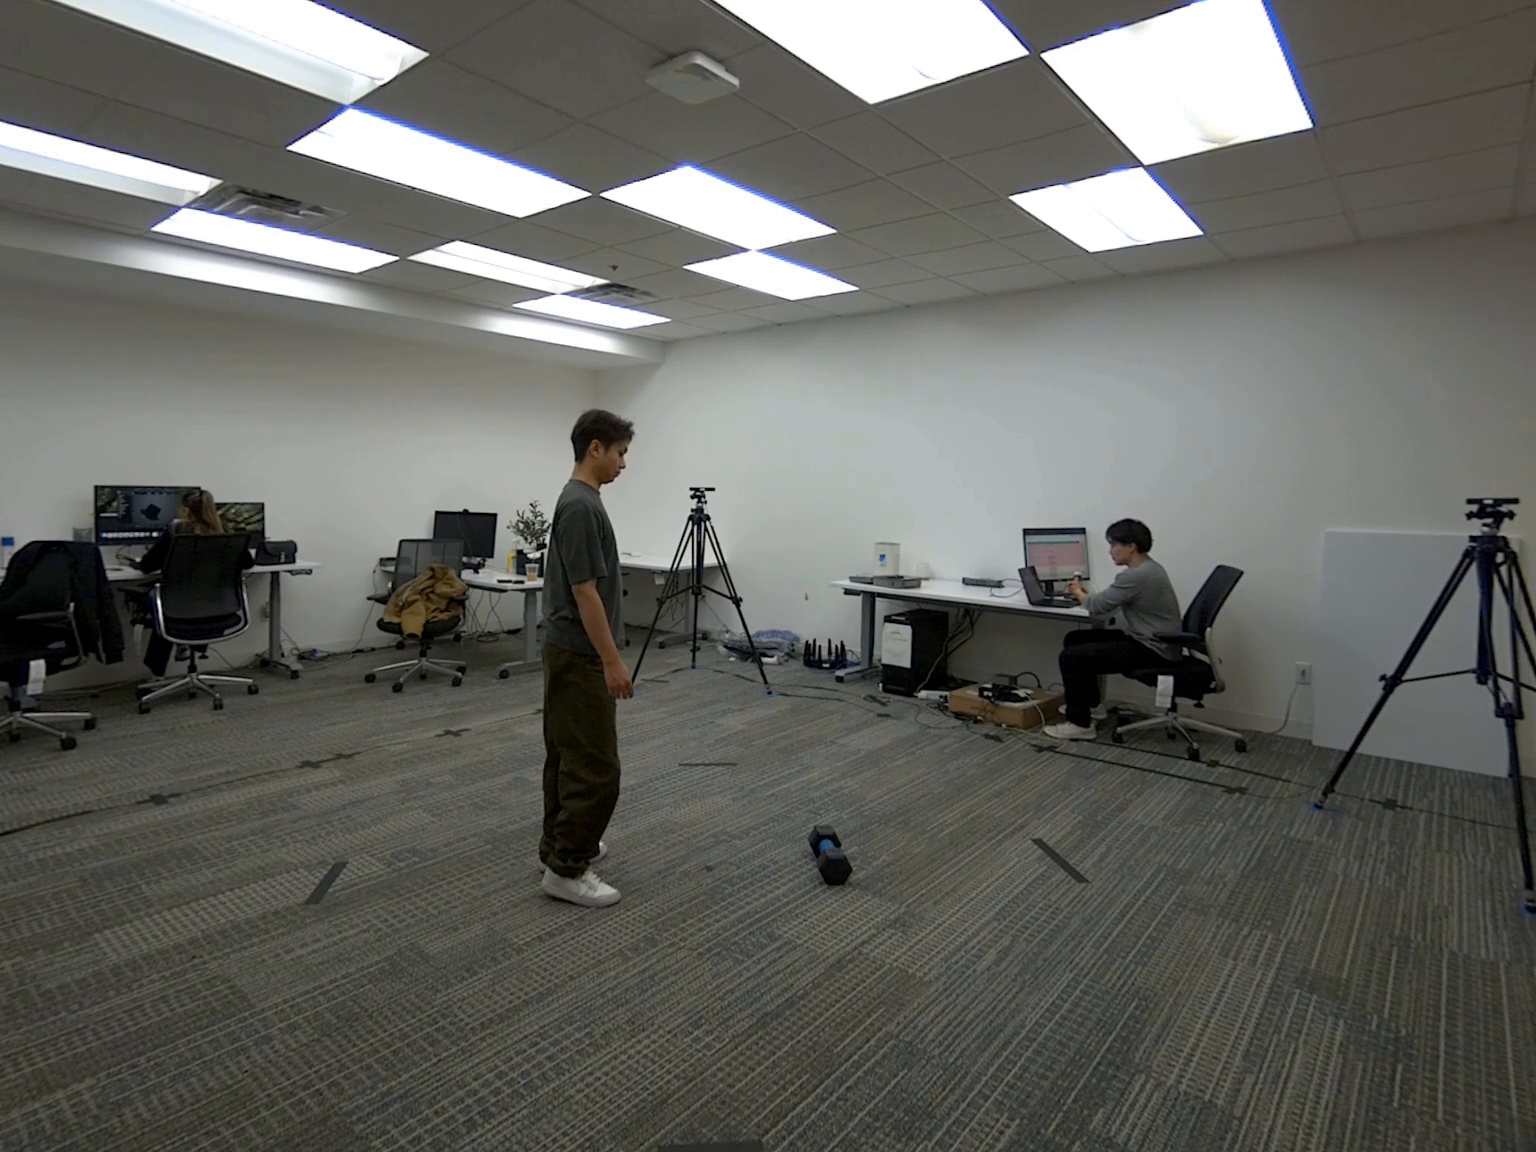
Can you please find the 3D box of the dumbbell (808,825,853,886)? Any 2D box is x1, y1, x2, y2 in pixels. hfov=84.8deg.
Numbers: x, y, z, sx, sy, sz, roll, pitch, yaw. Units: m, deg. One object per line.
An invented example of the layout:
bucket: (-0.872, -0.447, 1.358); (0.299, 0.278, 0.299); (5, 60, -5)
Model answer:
dumbbell: (0.214, 1.024, 3.132); (0.108, 0.122, 0.296); (-30, 7, -2)
